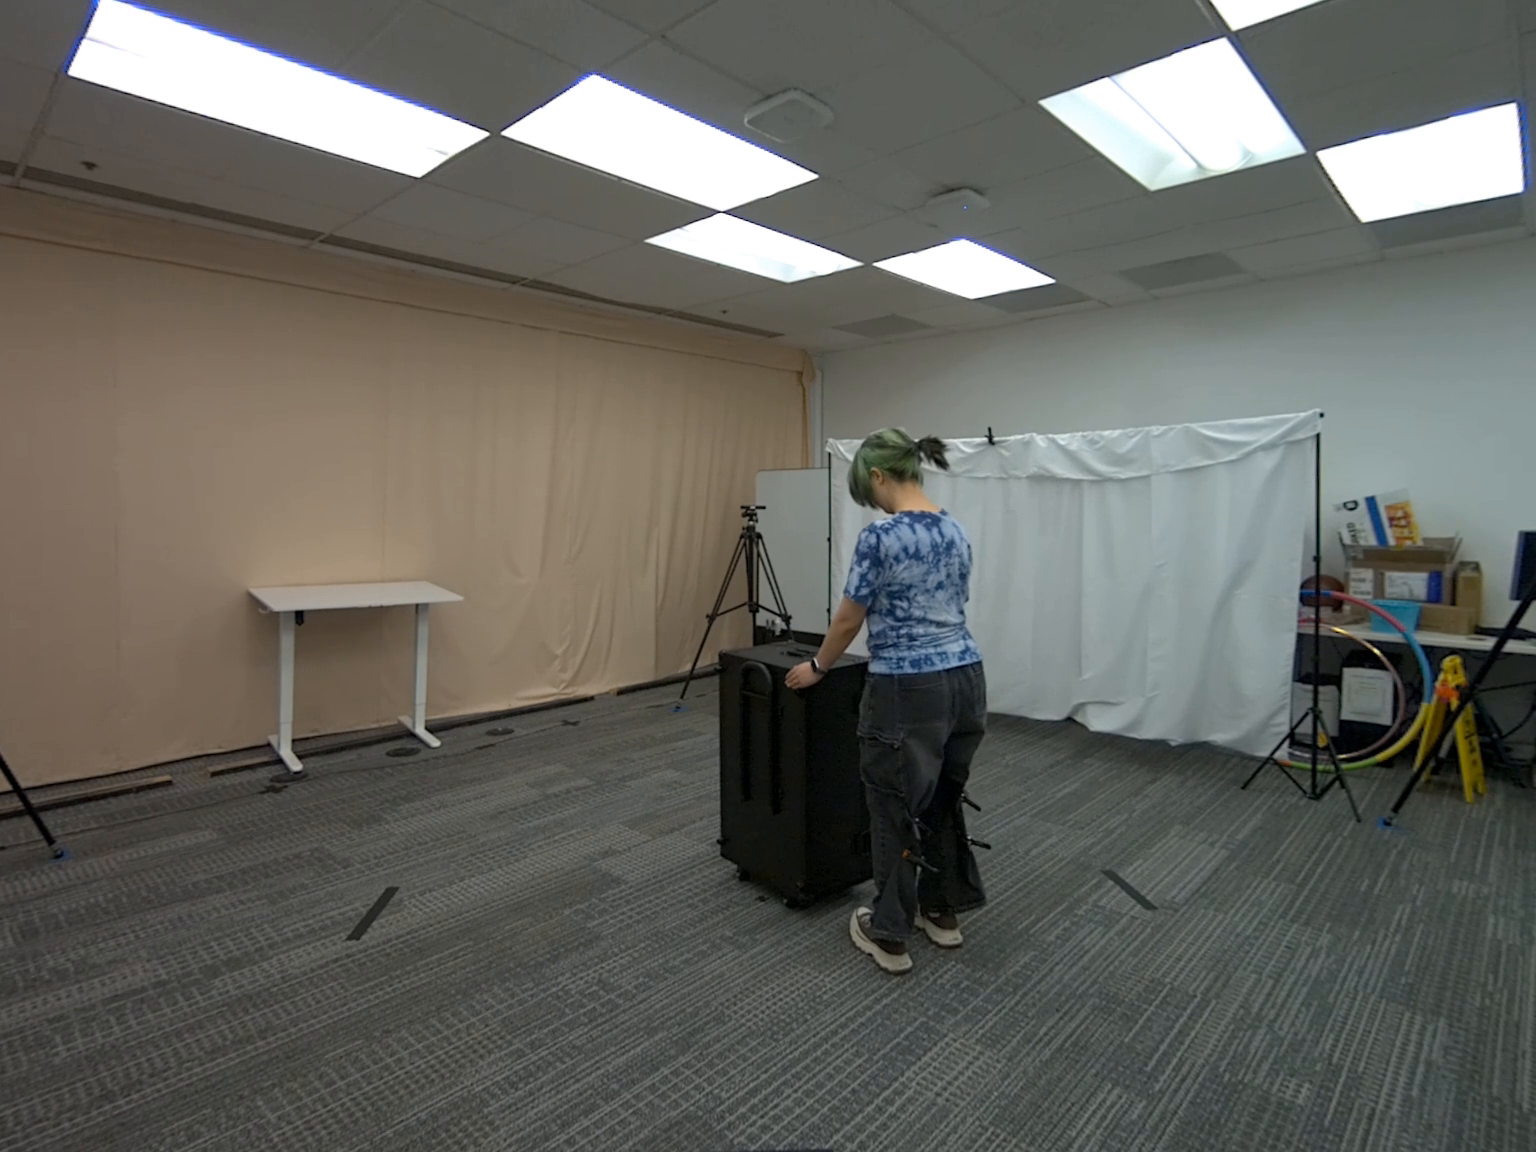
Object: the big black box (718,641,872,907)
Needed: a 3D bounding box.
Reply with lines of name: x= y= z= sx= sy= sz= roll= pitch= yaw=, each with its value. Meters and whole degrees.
big black box: x=0.105 y=0.714 z=3.056 sx=0.385 sy=0.859 sz=0.538 roll=-4 pitch=6 yaw=-38
